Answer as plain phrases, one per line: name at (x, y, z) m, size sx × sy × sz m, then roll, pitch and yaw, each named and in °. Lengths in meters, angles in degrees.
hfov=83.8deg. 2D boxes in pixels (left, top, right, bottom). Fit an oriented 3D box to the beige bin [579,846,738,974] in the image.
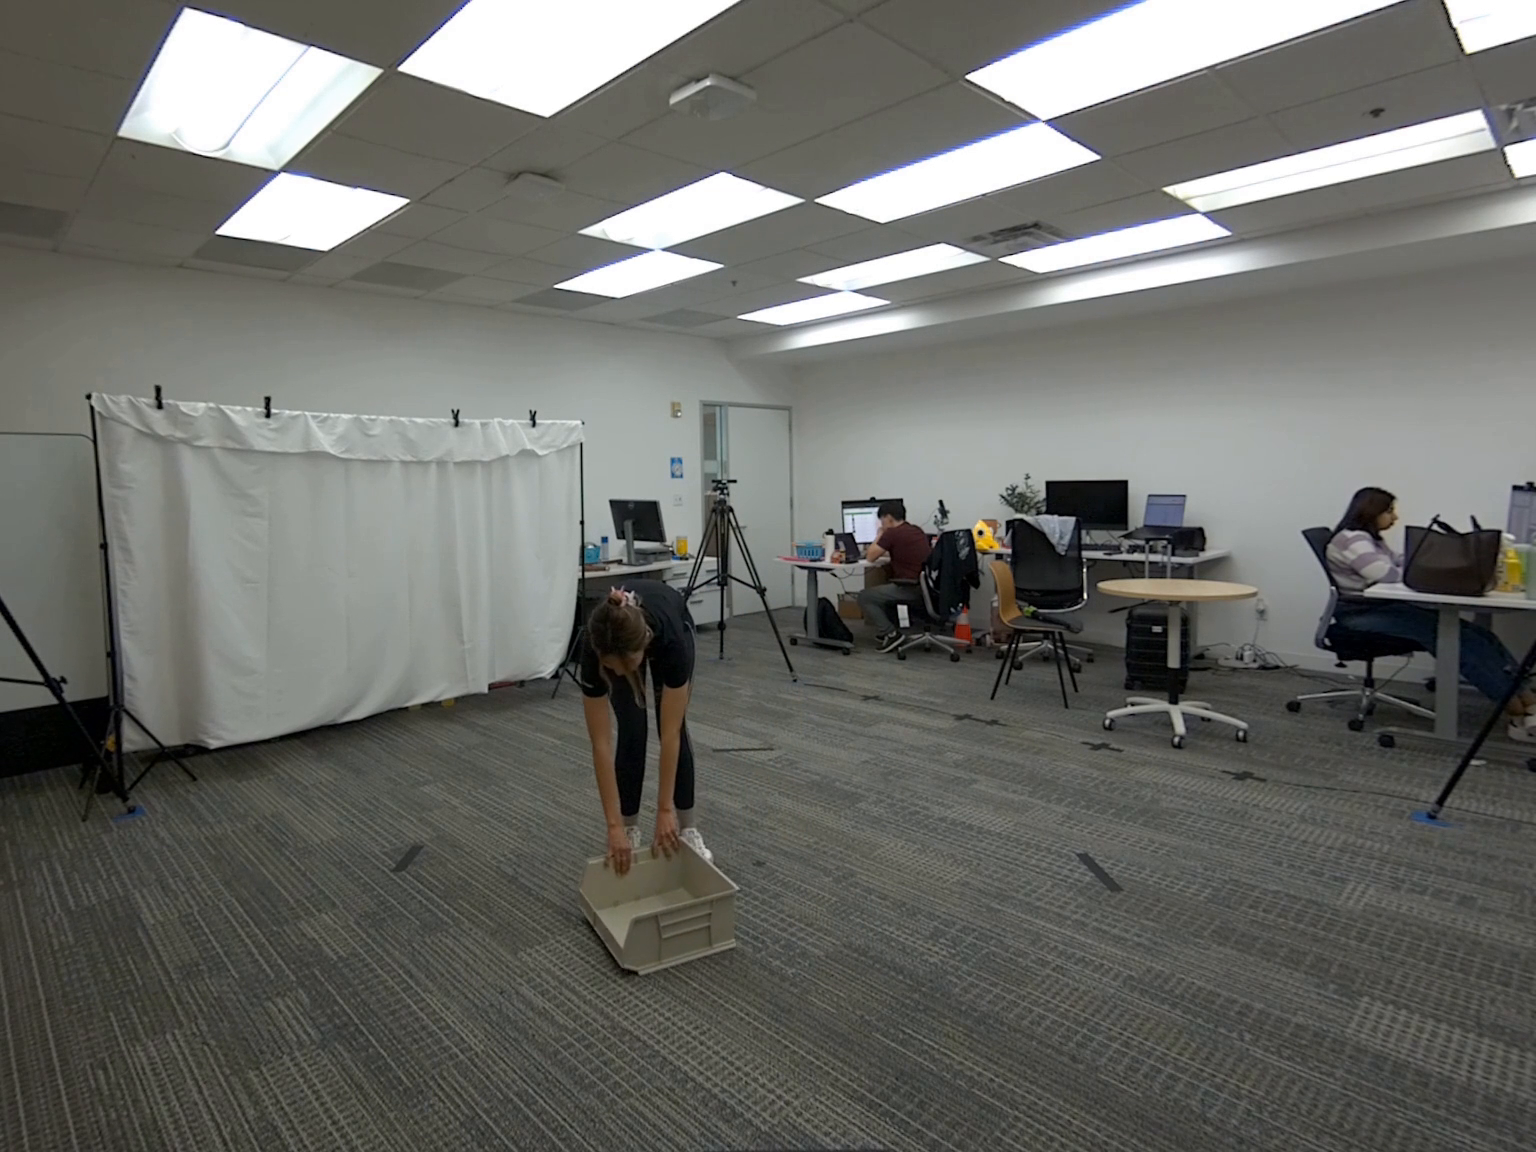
beige bin at (-0.343, 1.018, 2.655) m, size 0.368 × 0.188 × 0.434 m, roll -3°, pitch 6°, yaw -29°
